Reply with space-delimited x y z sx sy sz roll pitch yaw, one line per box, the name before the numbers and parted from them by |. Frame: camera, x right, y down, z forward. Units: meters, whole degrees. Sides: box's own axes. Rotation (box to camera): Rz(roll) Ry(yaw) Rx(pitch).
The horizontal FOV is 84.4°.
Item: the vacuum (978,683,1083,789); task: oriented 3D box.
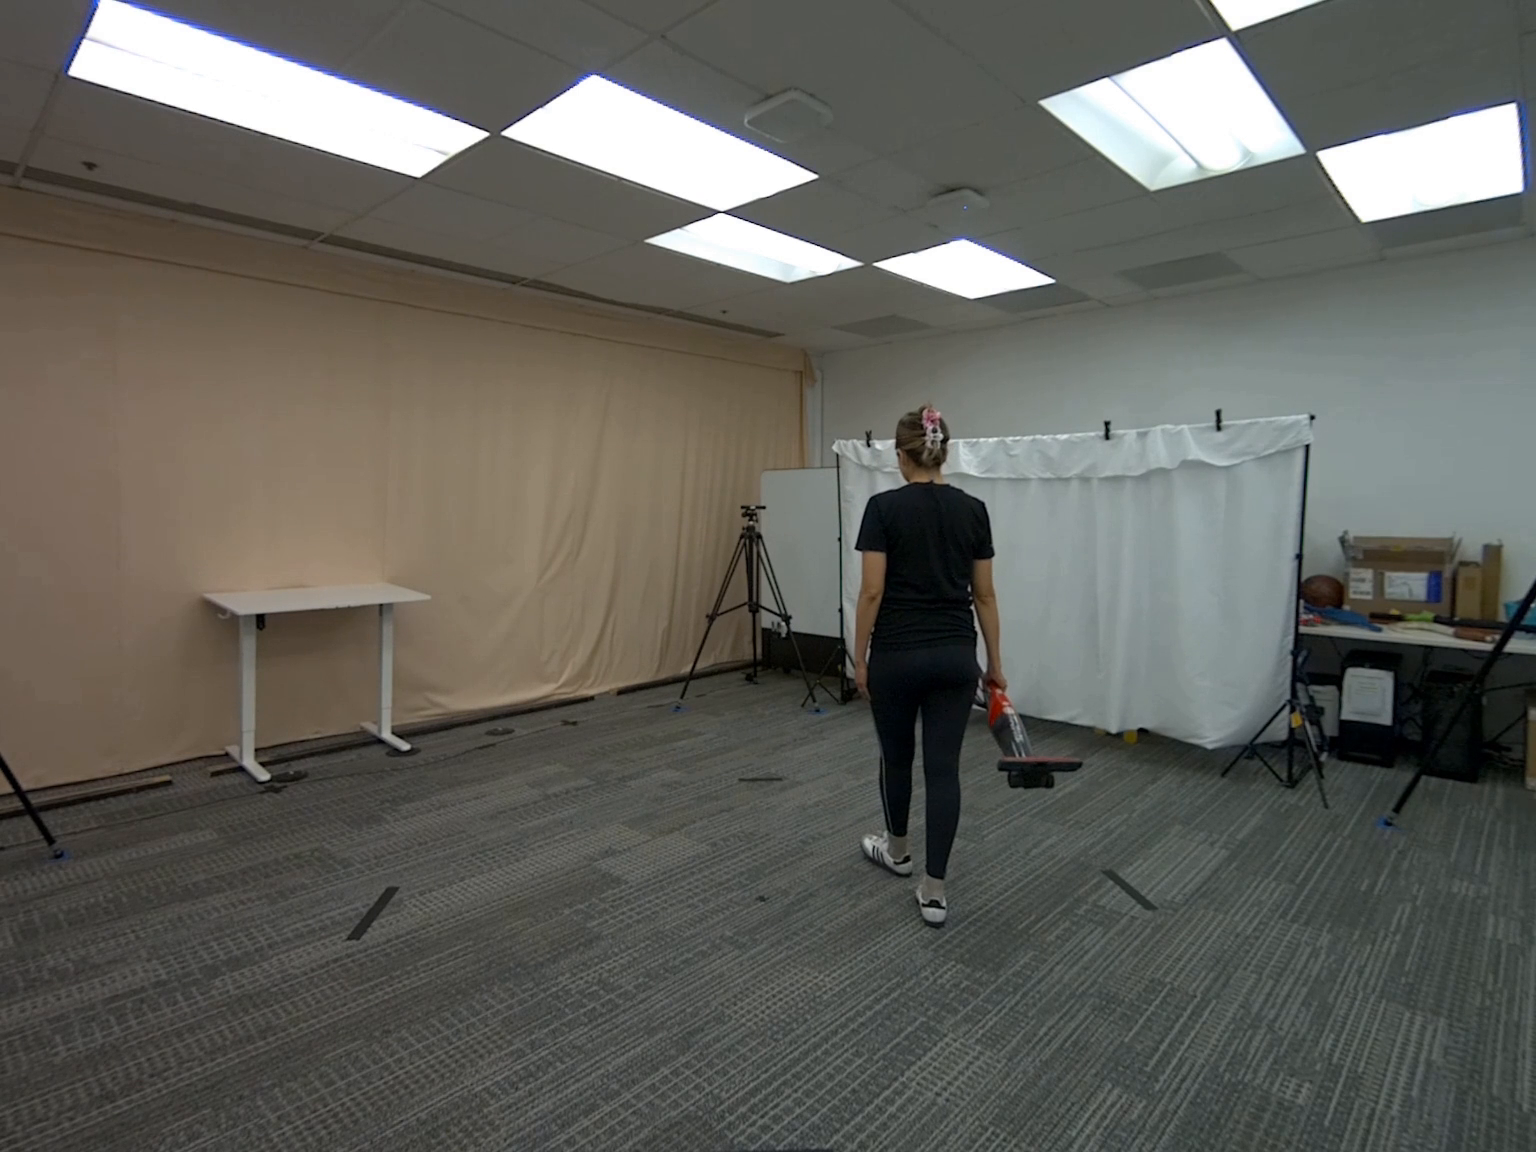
vacuum | 0.815 0.402 3.075 0.252 0.142 1.066 2 26 -4
